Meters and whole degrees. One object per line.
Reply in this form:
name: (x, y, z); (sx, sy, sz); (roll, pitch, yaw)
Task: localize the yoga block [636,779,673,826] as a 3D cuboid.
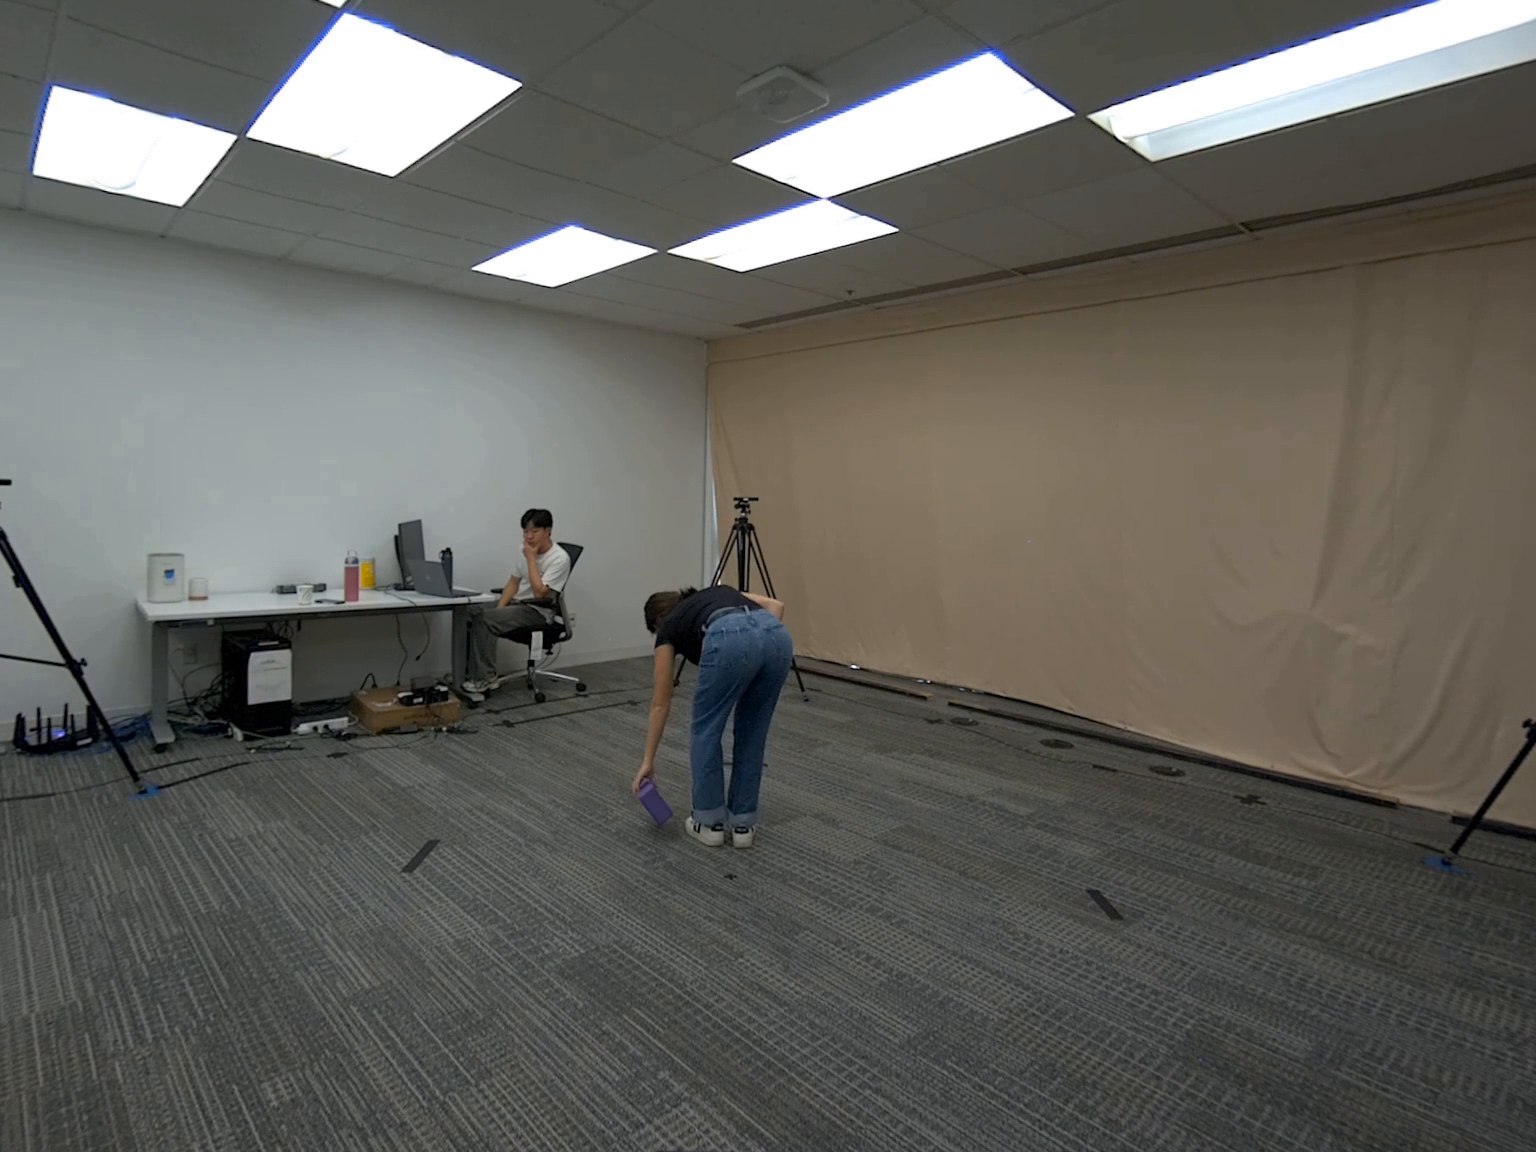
yoga block: (-0.472, 0.929, 3.510); (0.076, 0.149, 0.230); (-37, 1, -14)
